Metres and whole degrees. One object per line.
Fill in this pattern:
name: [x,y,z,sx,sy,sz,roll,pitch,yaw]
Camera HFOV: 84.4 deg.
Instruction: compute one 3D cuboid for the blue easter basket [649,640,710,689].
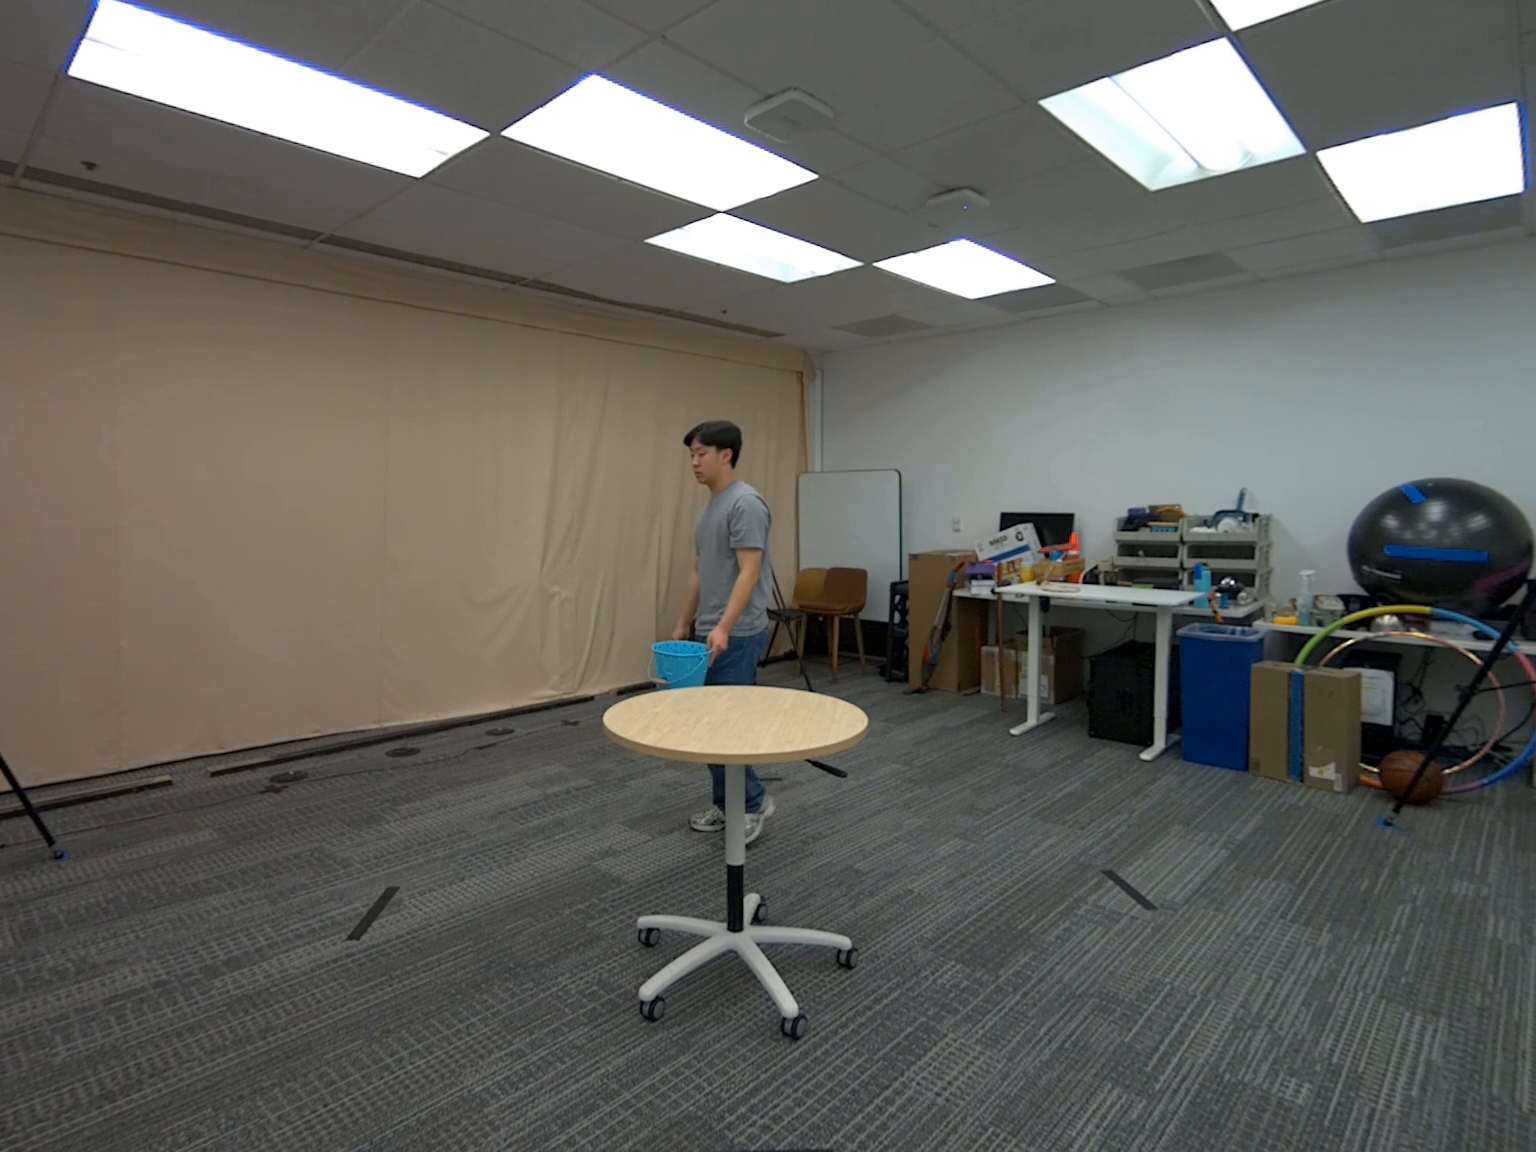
blue easter basket: [-0.345,0.351,3.210,0.243,0.155,0.245,2,6,-2]
